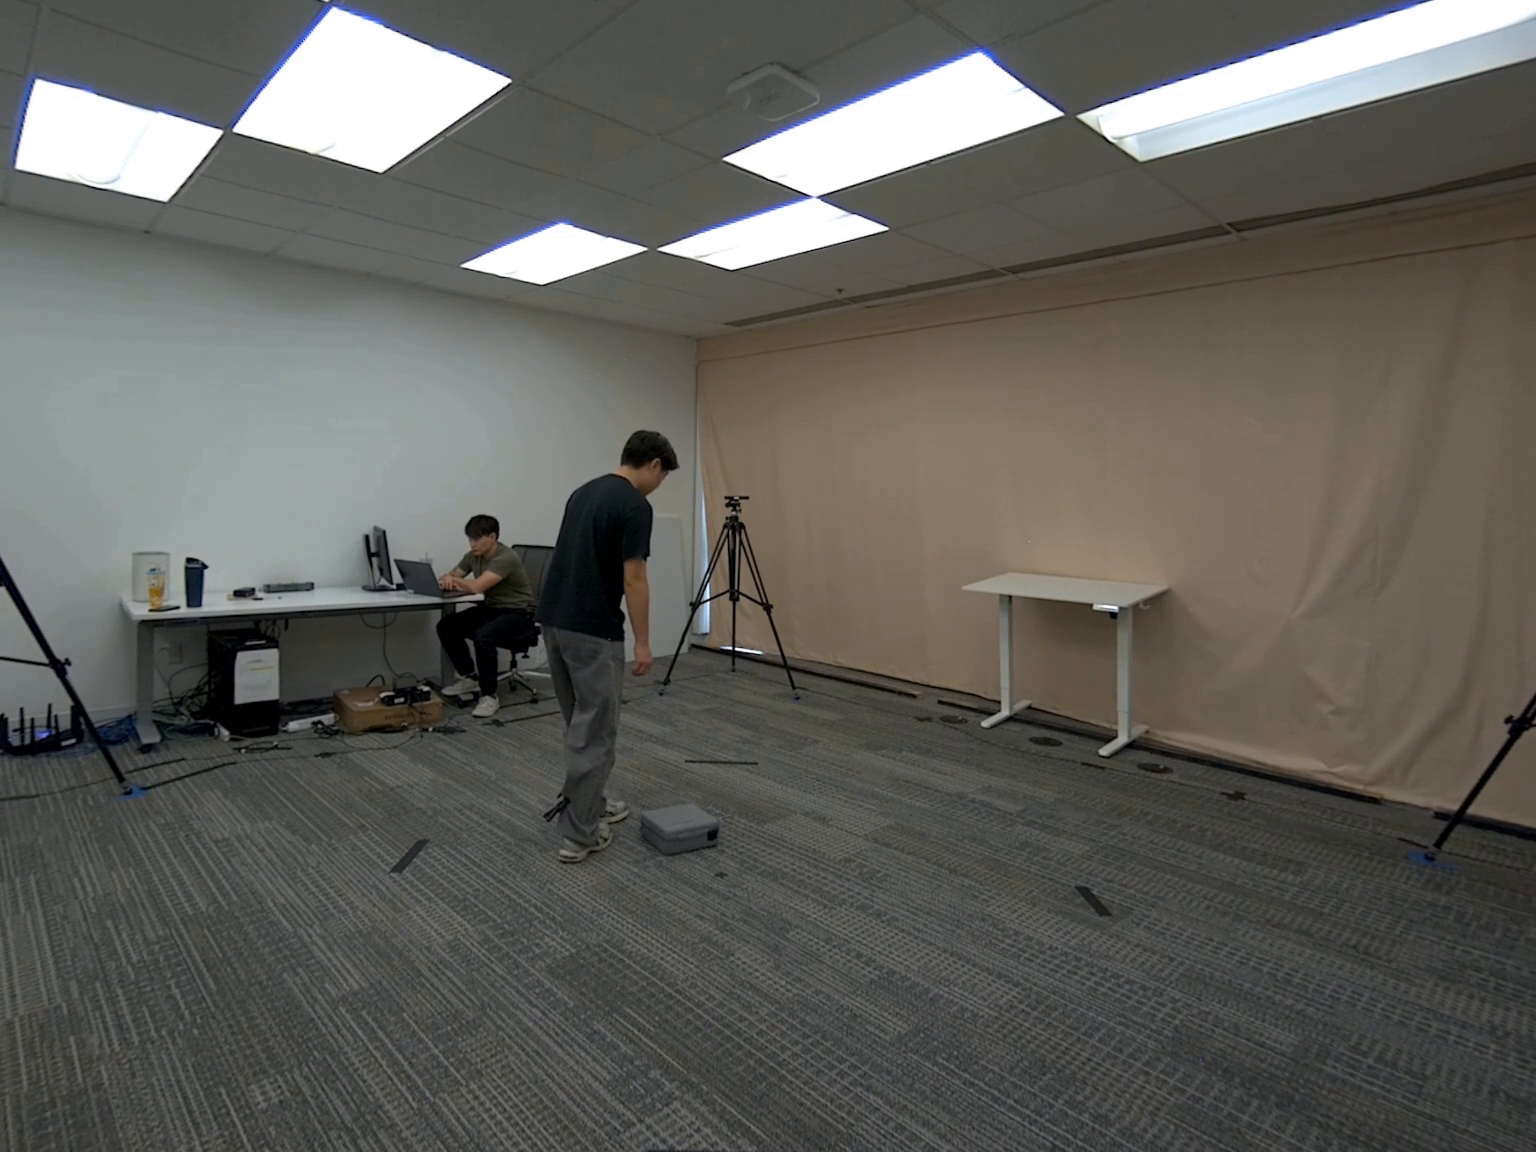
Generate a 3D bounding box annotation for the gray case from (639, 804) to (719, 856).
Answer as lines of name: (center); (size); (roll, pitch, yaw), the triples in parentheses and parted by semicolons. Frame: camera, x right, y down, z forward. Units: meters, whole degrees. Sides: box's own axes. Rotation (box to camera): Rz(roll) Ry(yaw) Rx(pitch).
gray case: (-0.377, 1.021, 3.417); (0.258, 0.103, 0.294); (-1, 4, -31)
